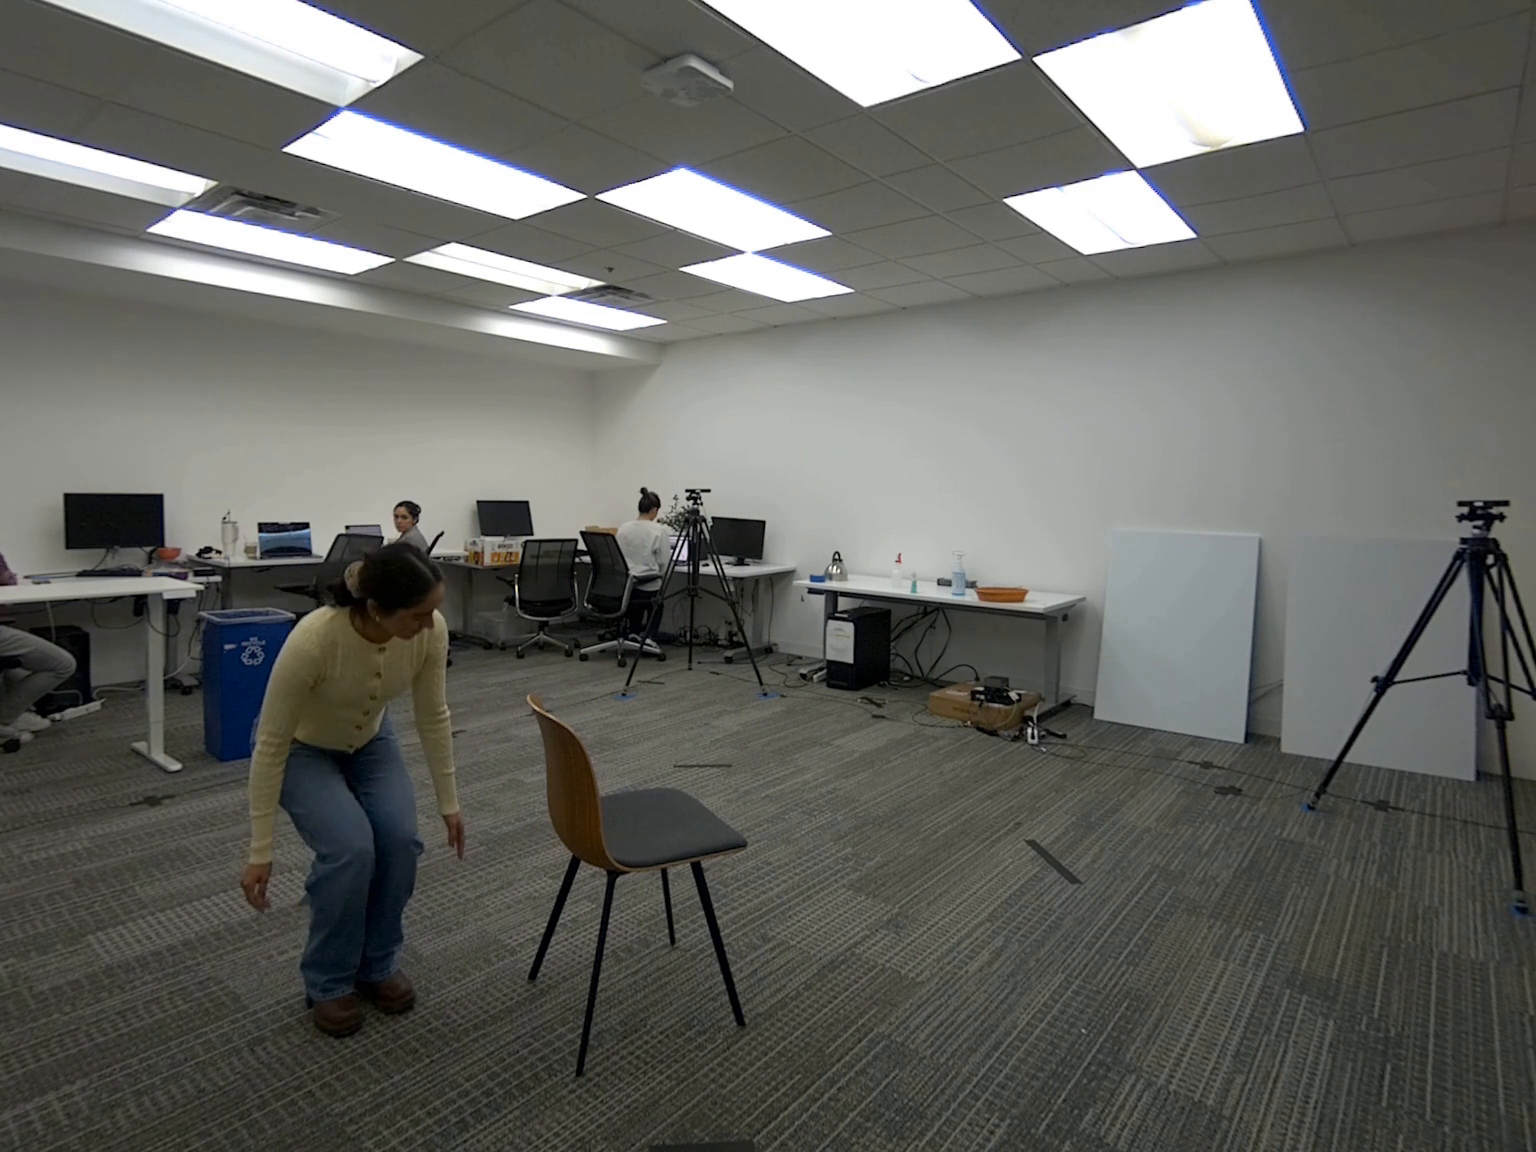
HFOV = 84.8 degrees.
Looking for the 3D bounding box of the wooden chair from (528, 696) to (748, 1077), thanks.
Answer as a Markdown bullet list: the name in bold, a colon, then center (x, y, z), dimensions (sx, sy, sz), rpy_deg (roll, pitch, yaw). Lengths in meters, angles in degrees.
- **wooden chair**: center (-0.359, 0.729, 2.280), dimensions (0.511, 0.873, 0.492), rpy_deg (-6, 6, -29)
